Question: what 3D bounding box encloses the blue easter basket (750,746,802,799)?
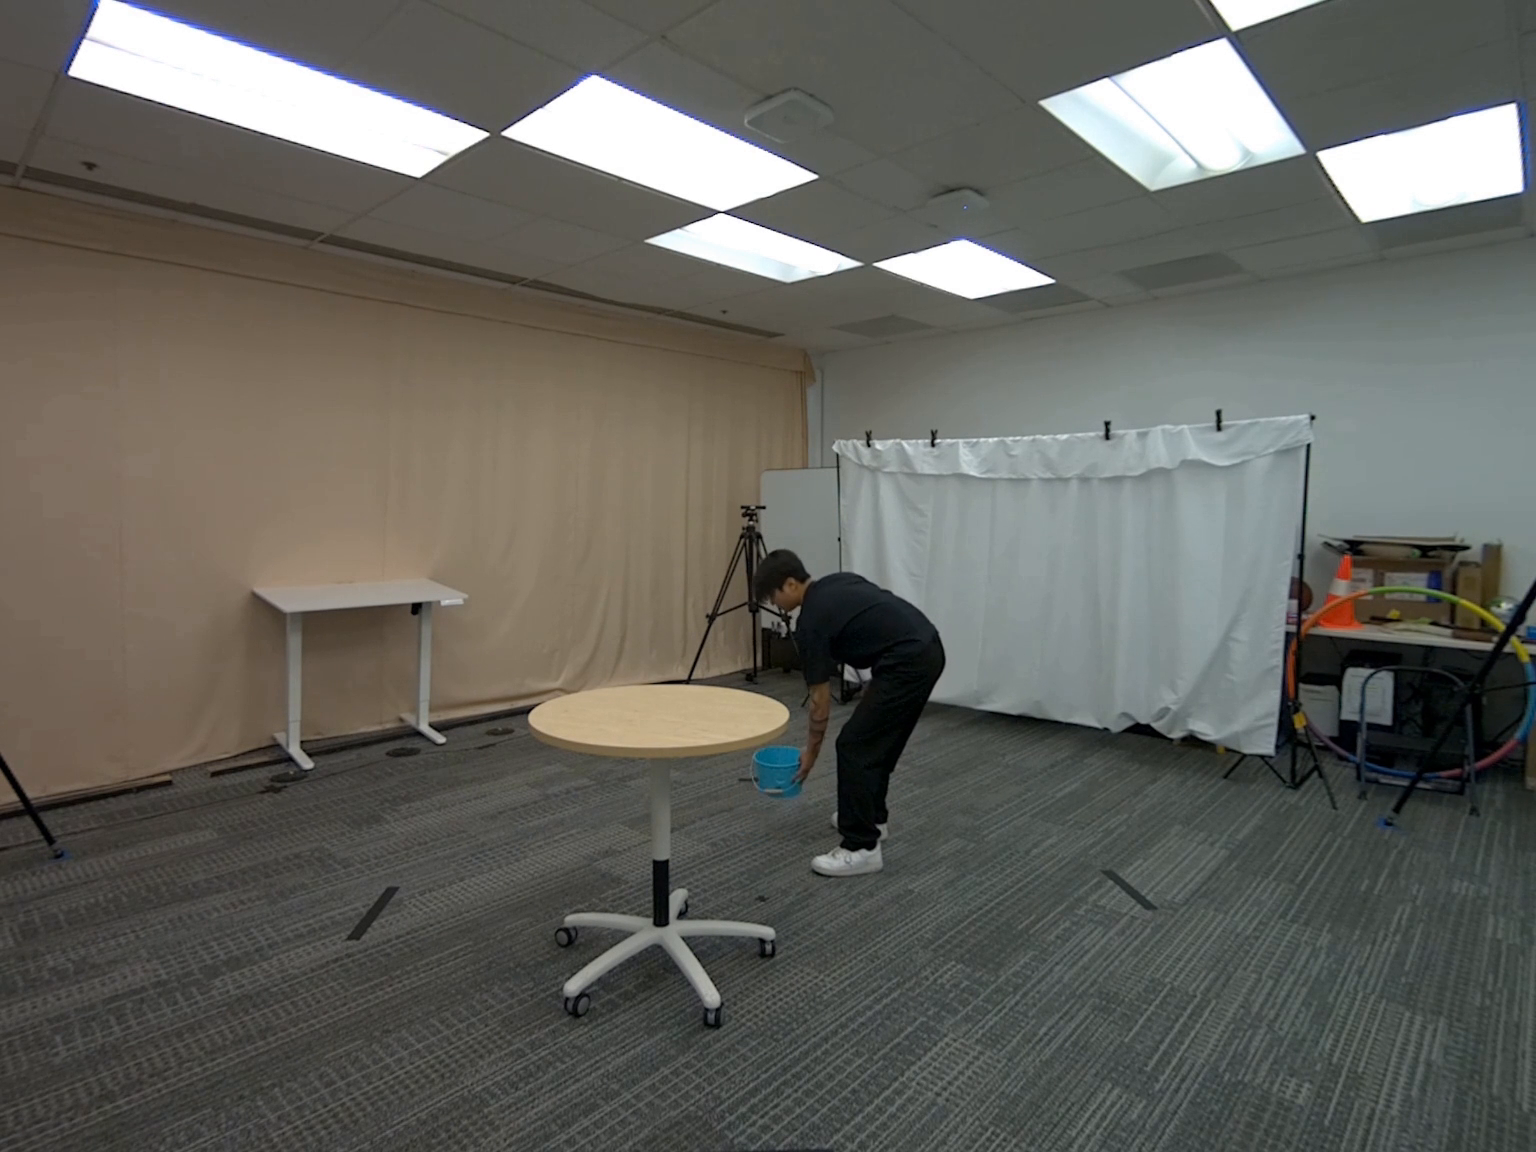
[{"bbox_3d":[0.051,0.837,3.594,0.243,0.155,0.245,-1,8,-2],"label":"blue easter basket"}]
